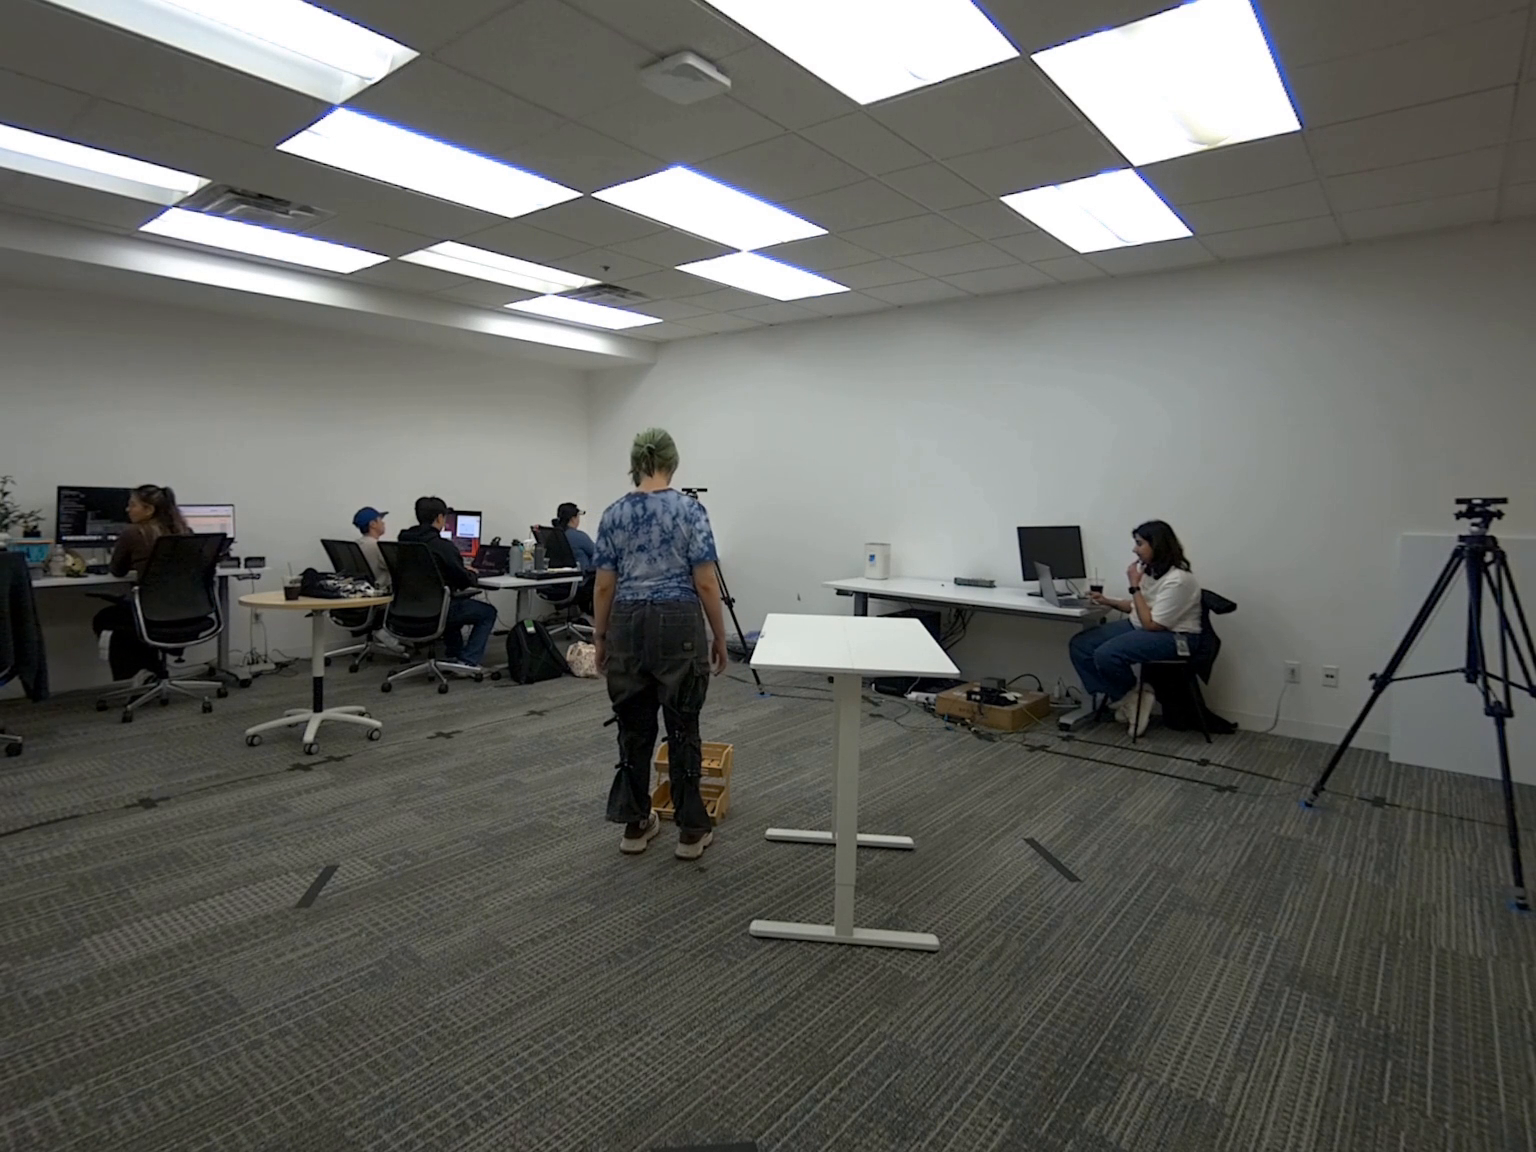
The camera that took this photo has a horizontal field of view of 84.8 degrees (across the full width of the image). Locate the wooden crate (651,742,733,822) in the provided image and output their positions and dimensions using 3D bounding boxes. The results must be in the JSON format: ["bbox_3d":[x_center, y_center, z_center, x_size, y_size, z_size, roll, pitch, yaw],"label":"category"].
[{"bbox_3d":[-0.339,0.877,3.674,0.329,0.272,0.299,2,4,12],"label":"wooden crate"}]
